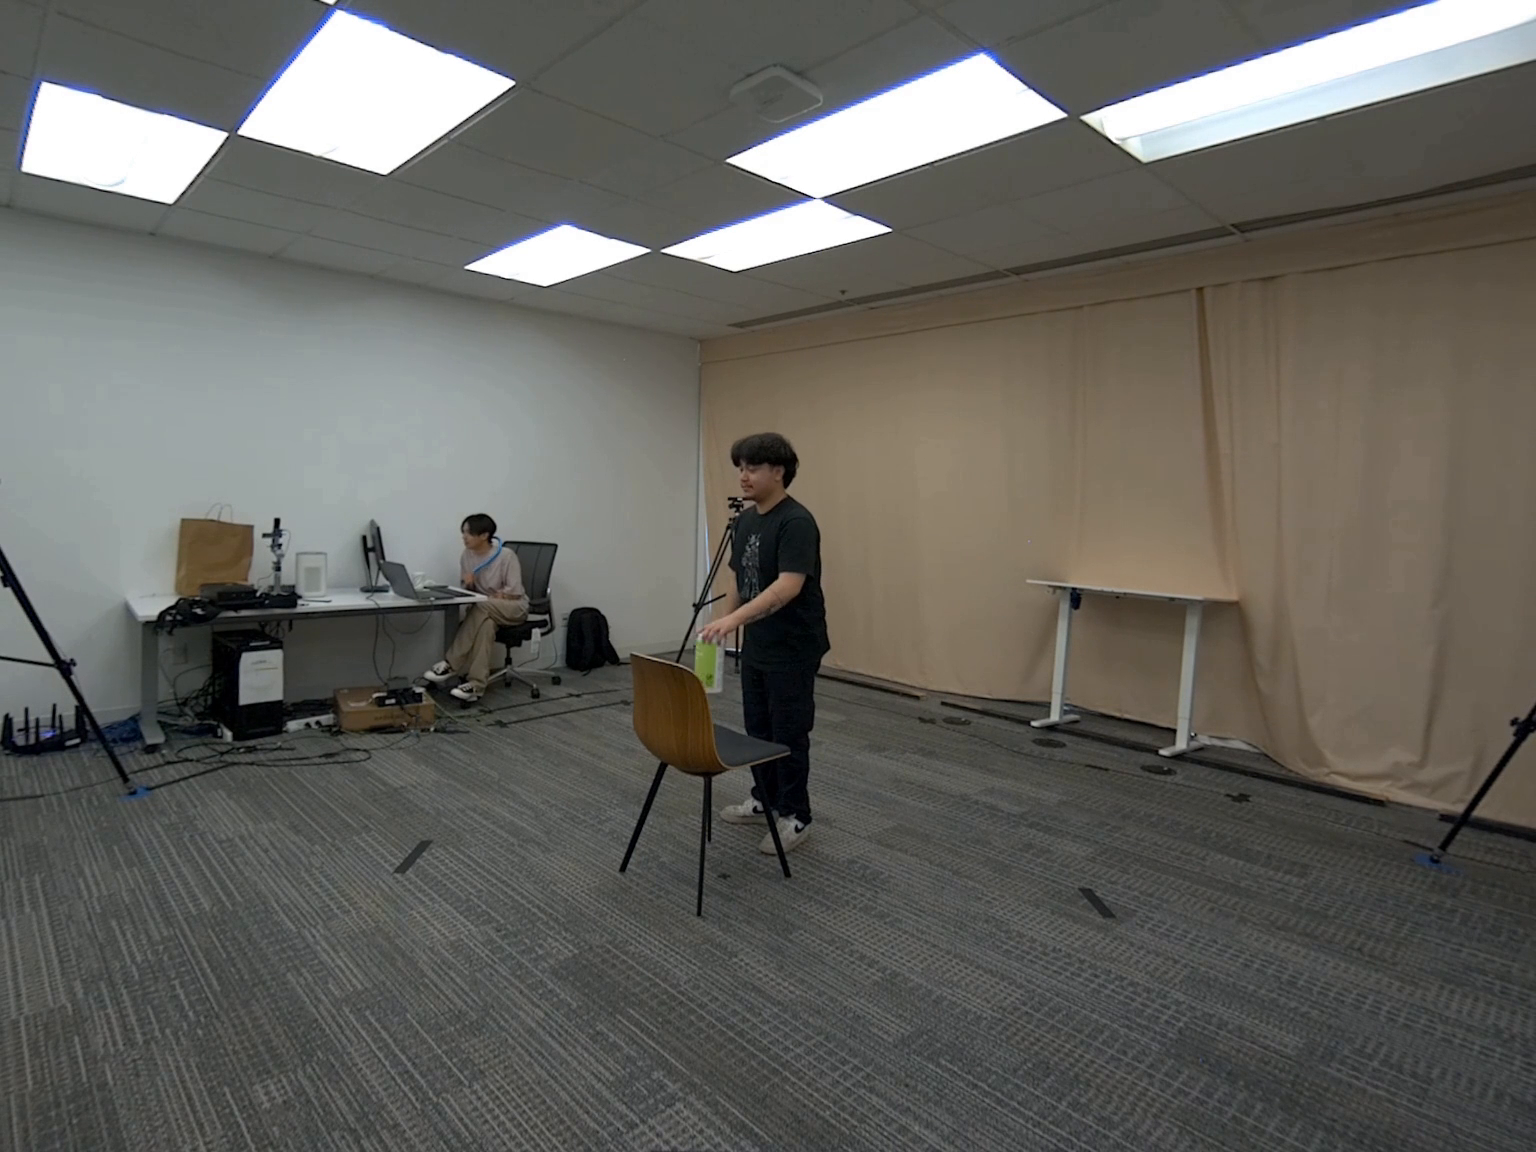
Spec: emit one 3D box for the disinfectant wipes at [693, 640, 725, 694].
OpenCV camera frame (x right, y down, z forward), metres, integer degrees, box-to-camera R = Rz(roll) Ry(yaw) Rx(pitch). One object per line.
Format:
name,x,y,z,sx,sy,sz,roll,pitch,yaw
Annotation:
disinfectant wipes,-0.219,0.321,3.095,0.118,0.217,0.118,4,2,-2
